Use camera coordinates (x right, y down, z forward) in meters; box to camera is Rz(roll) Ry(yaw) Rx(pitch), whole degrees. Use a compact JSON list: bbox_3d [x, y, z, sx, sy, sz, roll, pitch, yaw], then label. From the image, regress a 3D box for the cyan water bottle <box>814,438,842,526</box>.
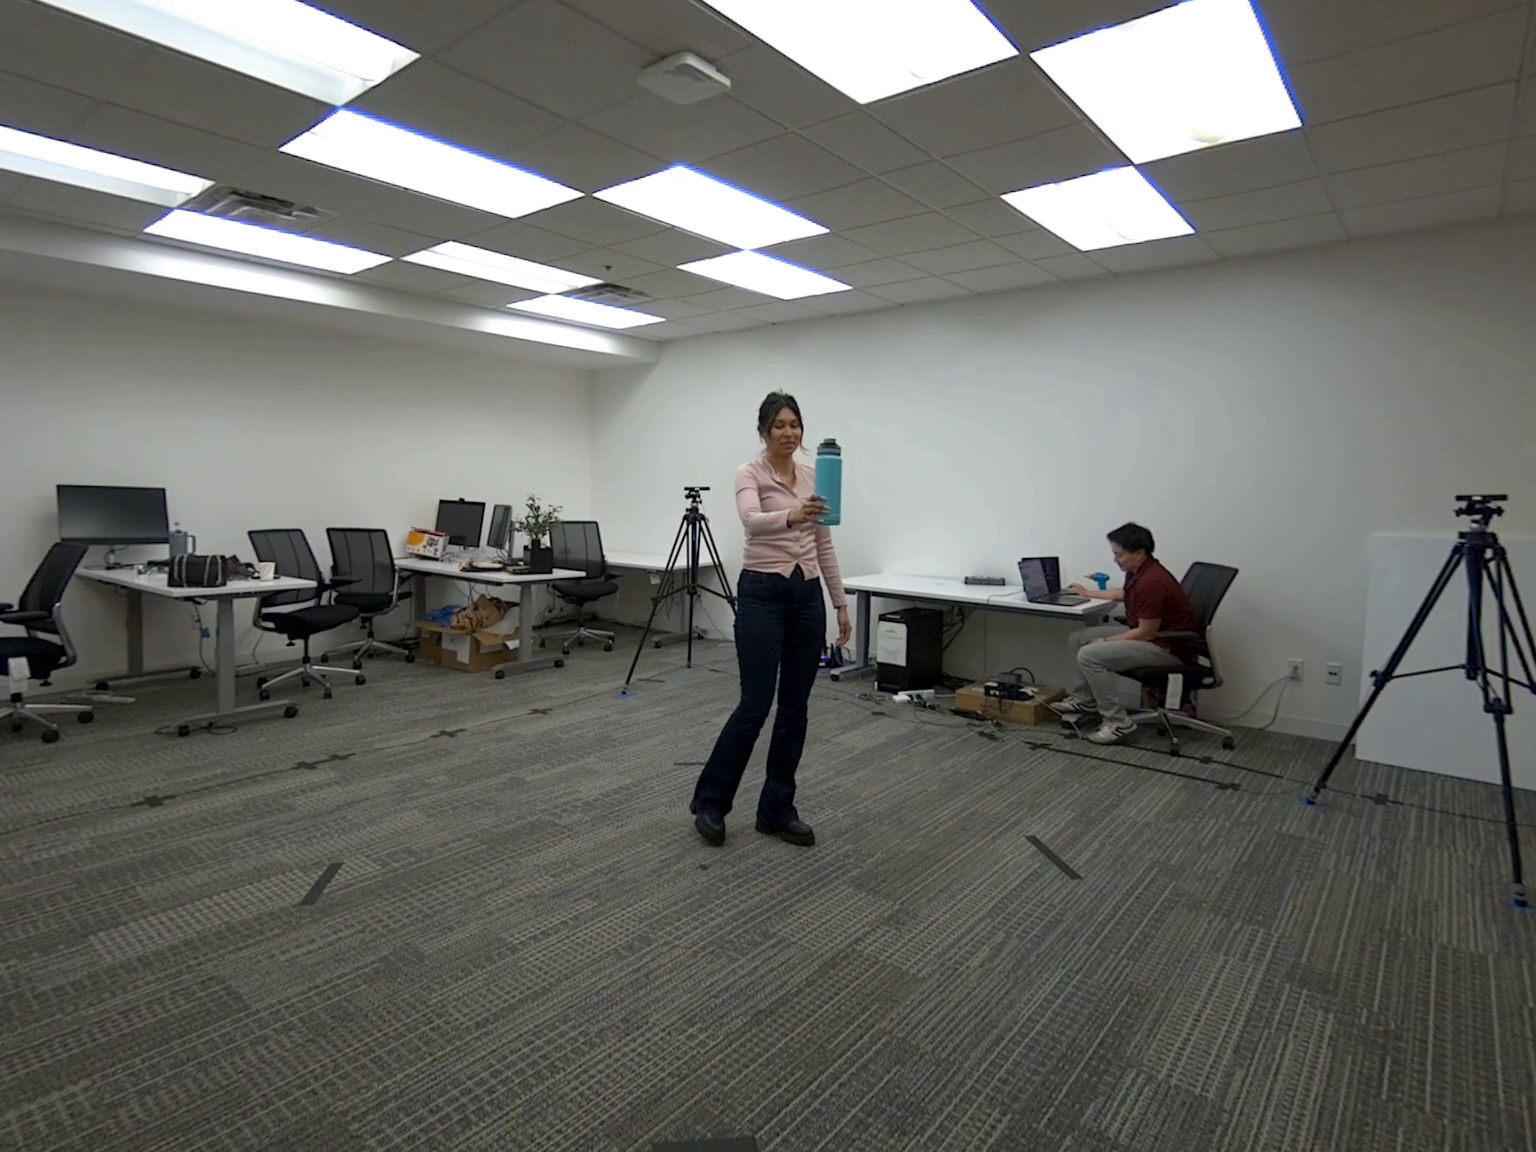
[{"bbox_3d":[0.191,-0.320,2.821,0.092,0.284,0.092,0,-4,-2],"label":"cyan water bottle"}]
